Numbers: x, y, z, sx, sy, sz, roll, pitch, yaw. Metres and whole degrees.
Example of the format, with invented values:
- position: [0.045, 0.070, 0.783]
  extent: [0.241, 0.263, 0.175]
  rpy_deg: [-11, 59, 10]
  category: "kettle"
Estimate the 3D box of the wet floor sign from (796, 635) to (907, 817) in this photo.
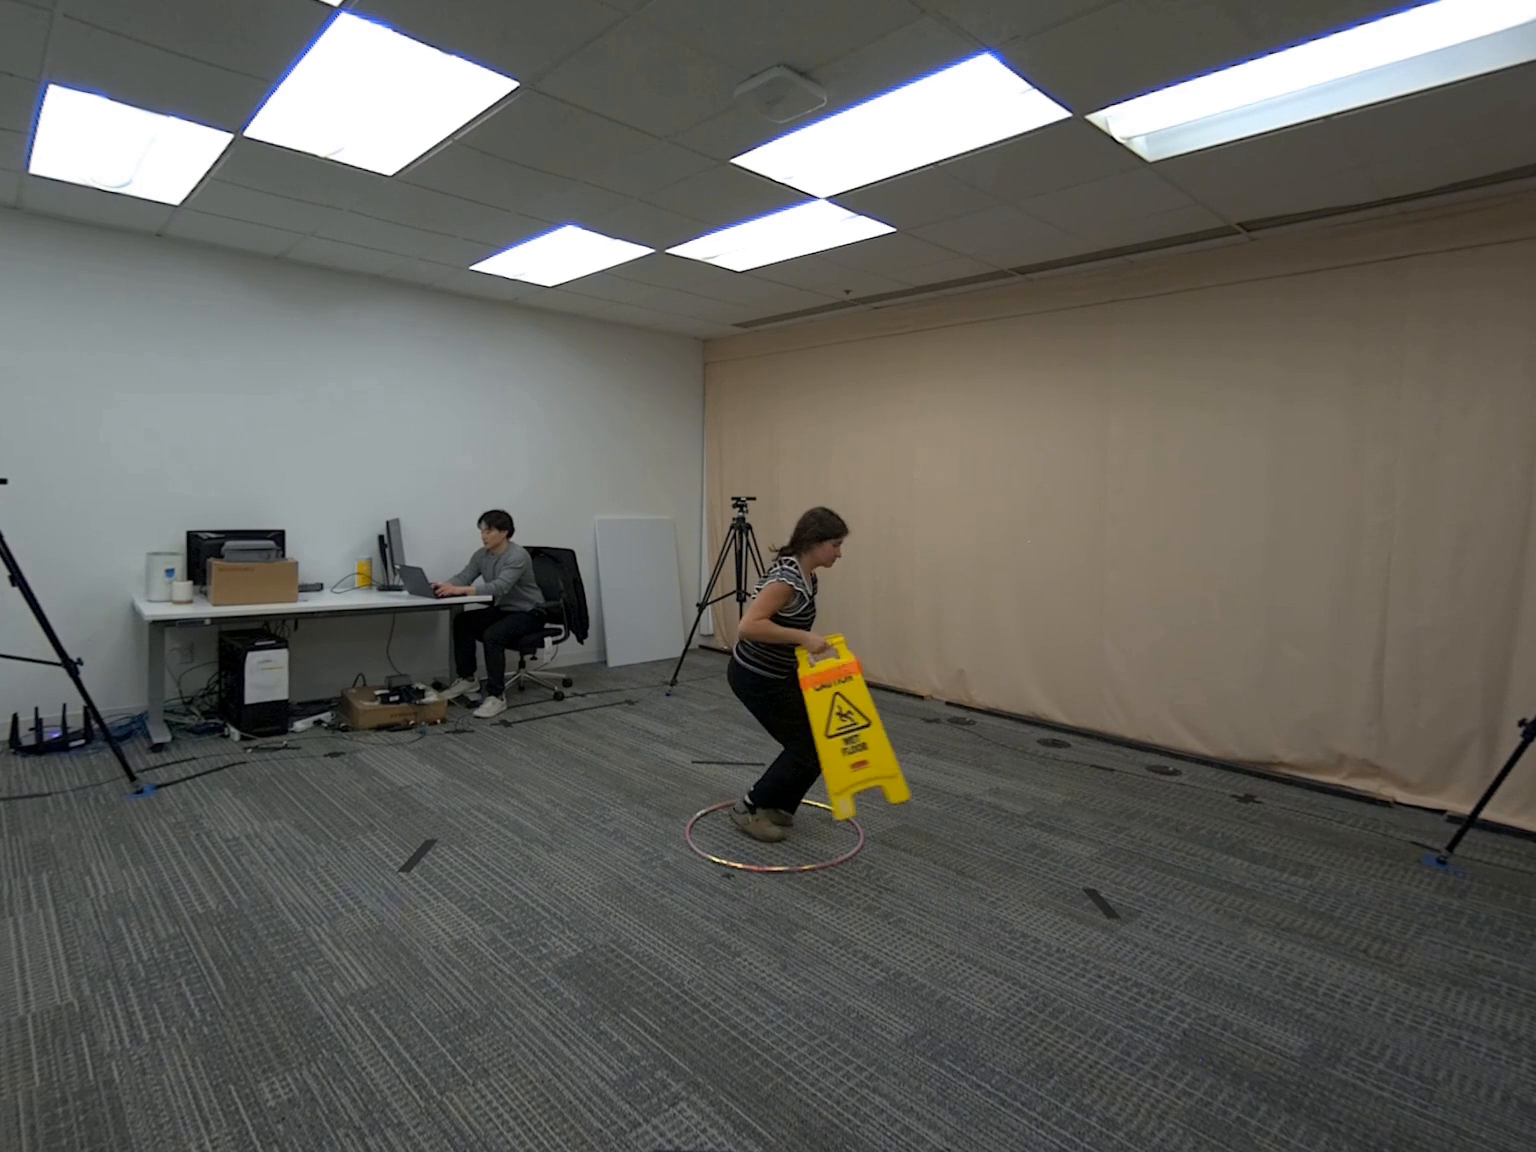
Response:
- position: [0.268, 0.511, 3.227]
  extent: [0.283, 0.655, 0.285]
  rpy_deg: [-16, -14, 6]
  category: "wet floor sign"
